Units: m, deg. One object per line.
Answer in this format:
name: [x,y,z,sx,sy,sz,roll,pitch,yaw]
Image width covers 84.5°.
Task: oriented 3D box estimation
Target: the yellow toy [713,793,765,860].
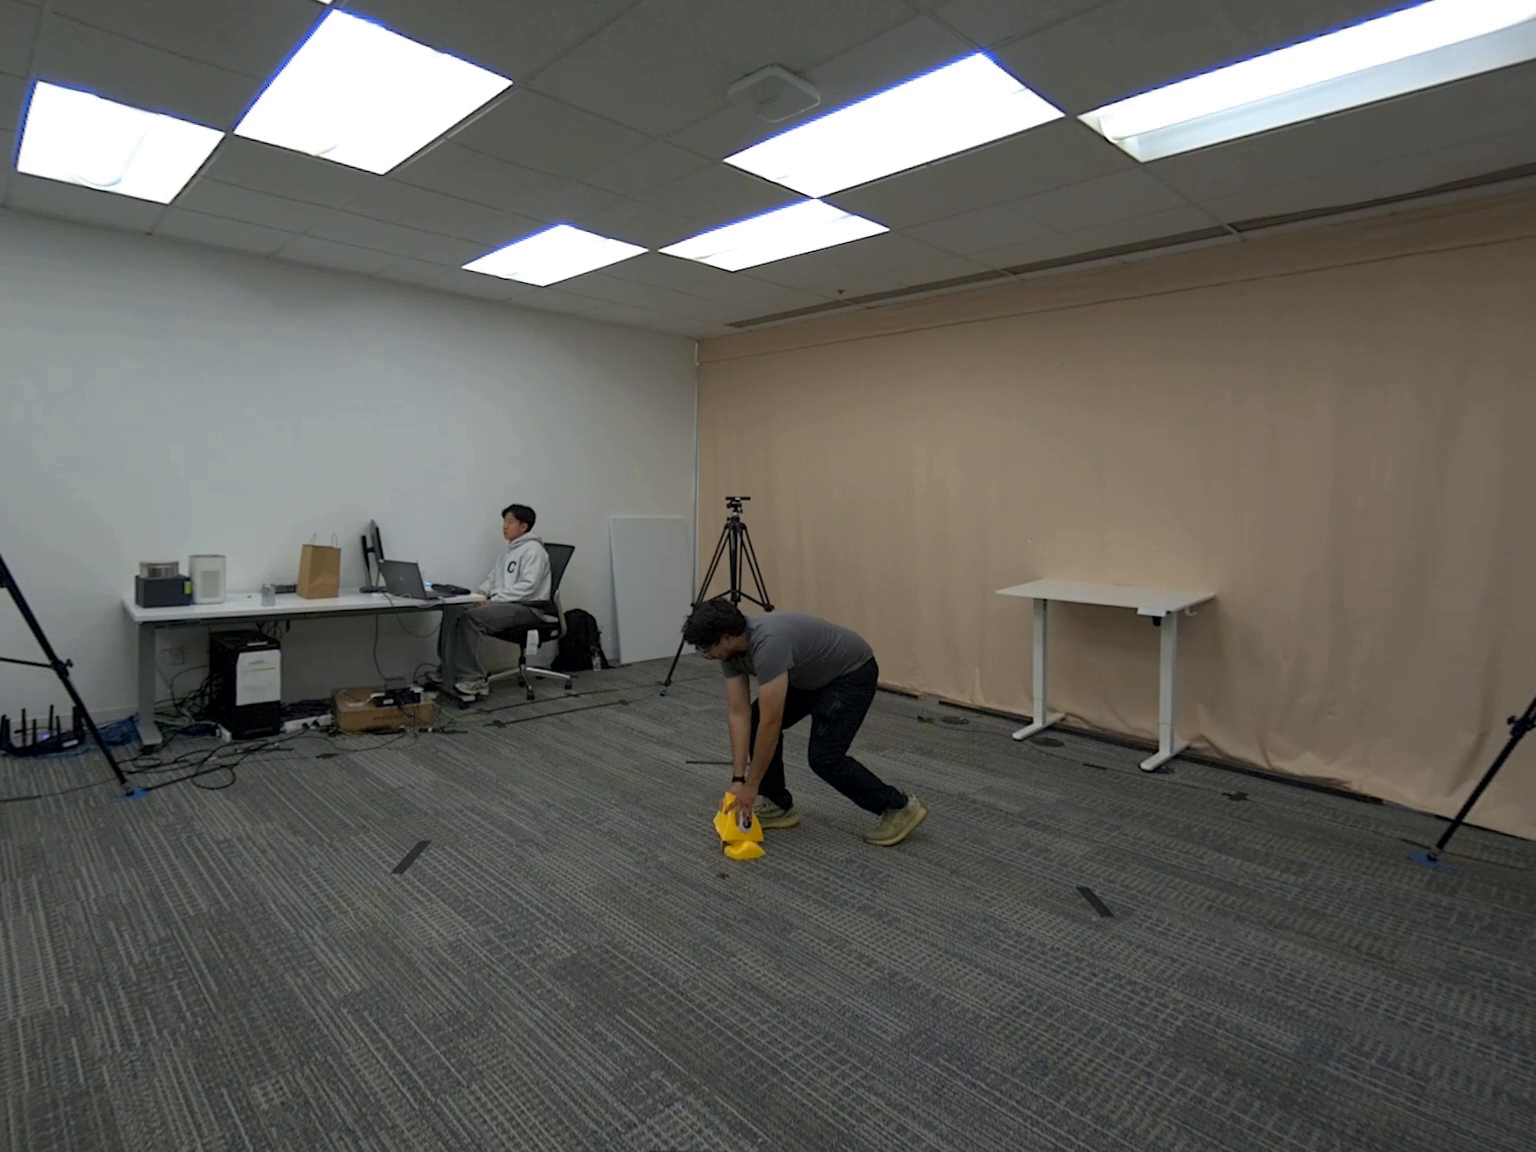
yellow toy: [-0.116,0.975,3.348,0.191,0.230,0.207,1,5,-11]
